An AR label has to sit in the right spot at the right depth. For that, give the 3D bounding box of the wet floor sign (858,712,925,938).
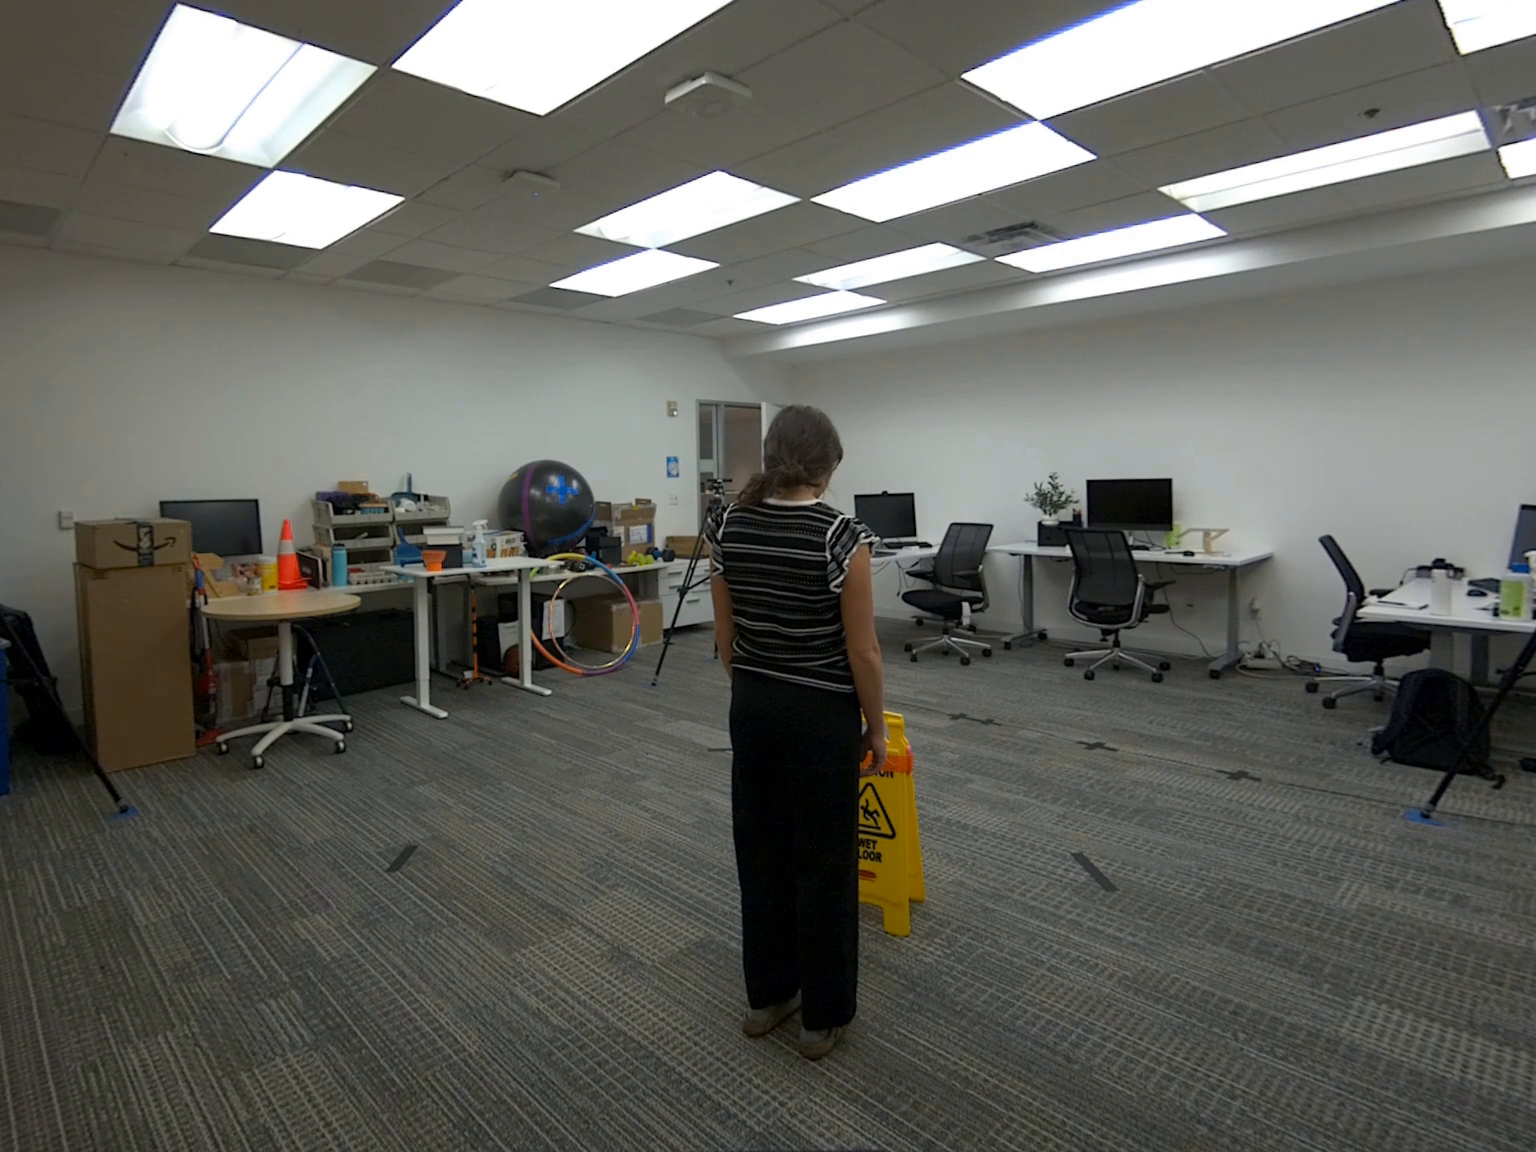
[{"bbox_3d":[0.342,0.758,2.733,0.288,0.643,0.285,0,5,23],"label":"wet floor sign"}]
